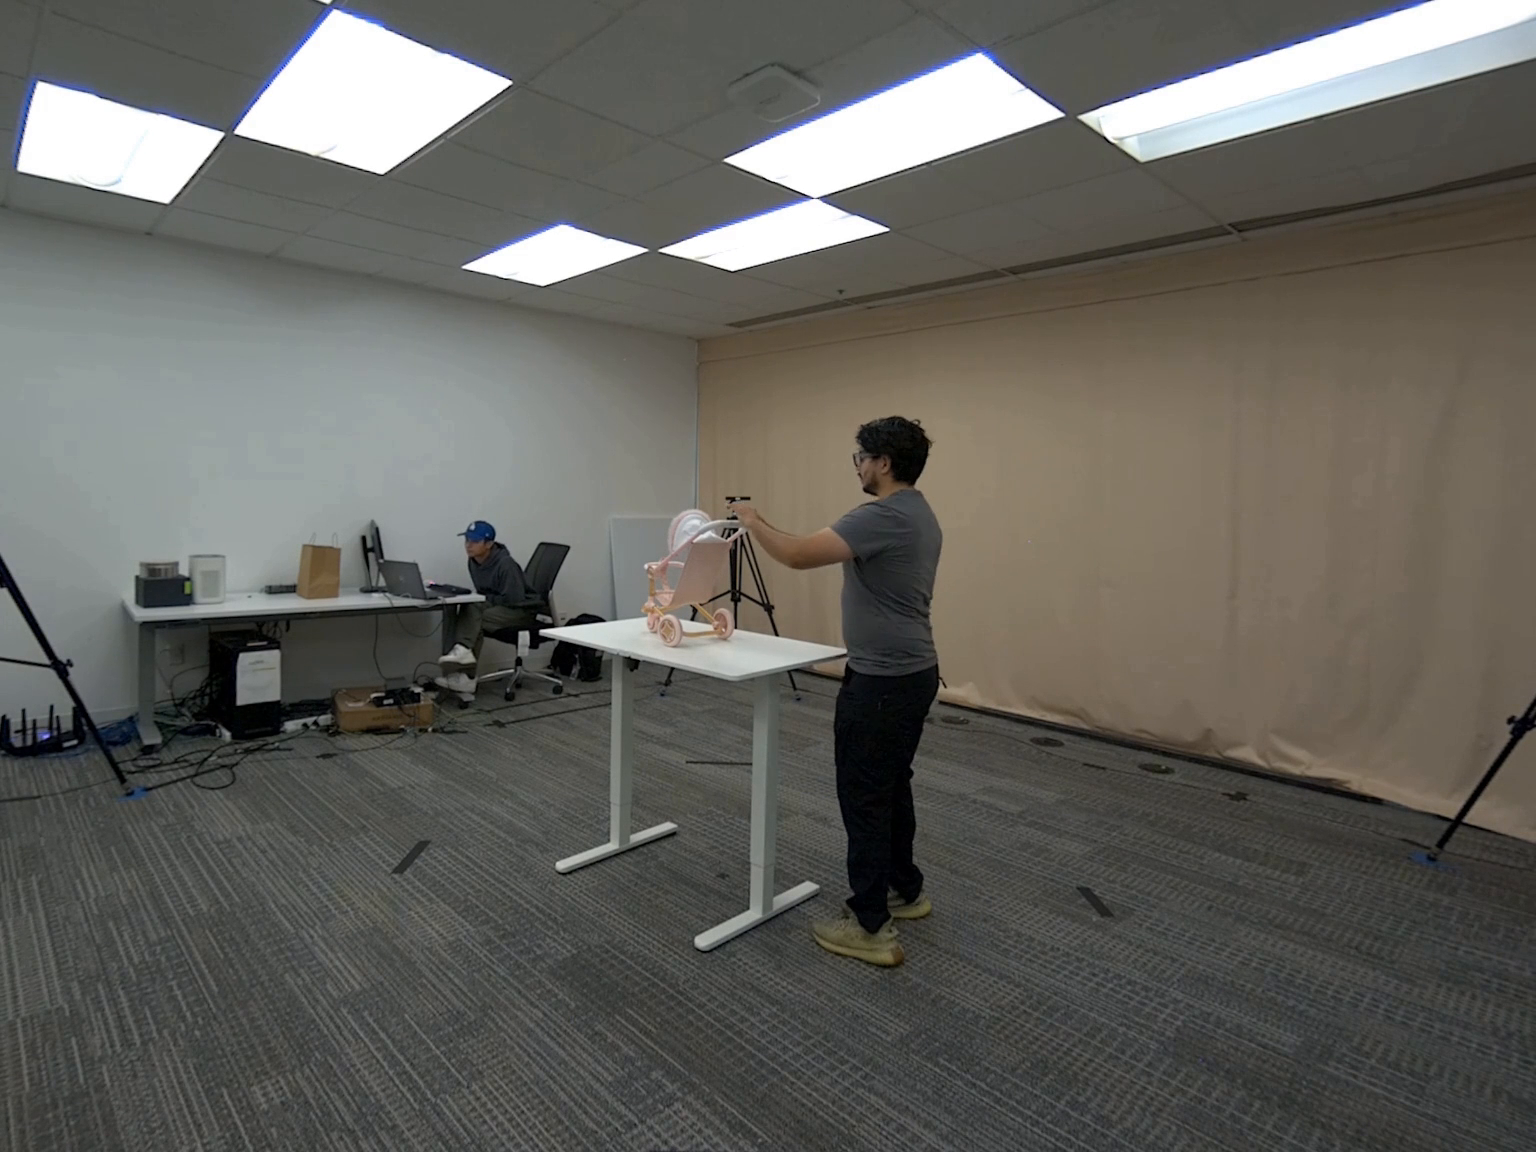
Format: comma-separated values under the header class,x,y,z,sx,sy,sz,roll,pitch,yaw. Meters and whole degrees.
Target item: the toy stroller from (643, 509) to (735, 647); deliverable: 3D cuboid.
class,x,y,z,sx,sy,sz,roll,pitch,yaw
toy stroller,-0.290,0.005,2.985,0.275,0.530,0.352,0,20,-41
